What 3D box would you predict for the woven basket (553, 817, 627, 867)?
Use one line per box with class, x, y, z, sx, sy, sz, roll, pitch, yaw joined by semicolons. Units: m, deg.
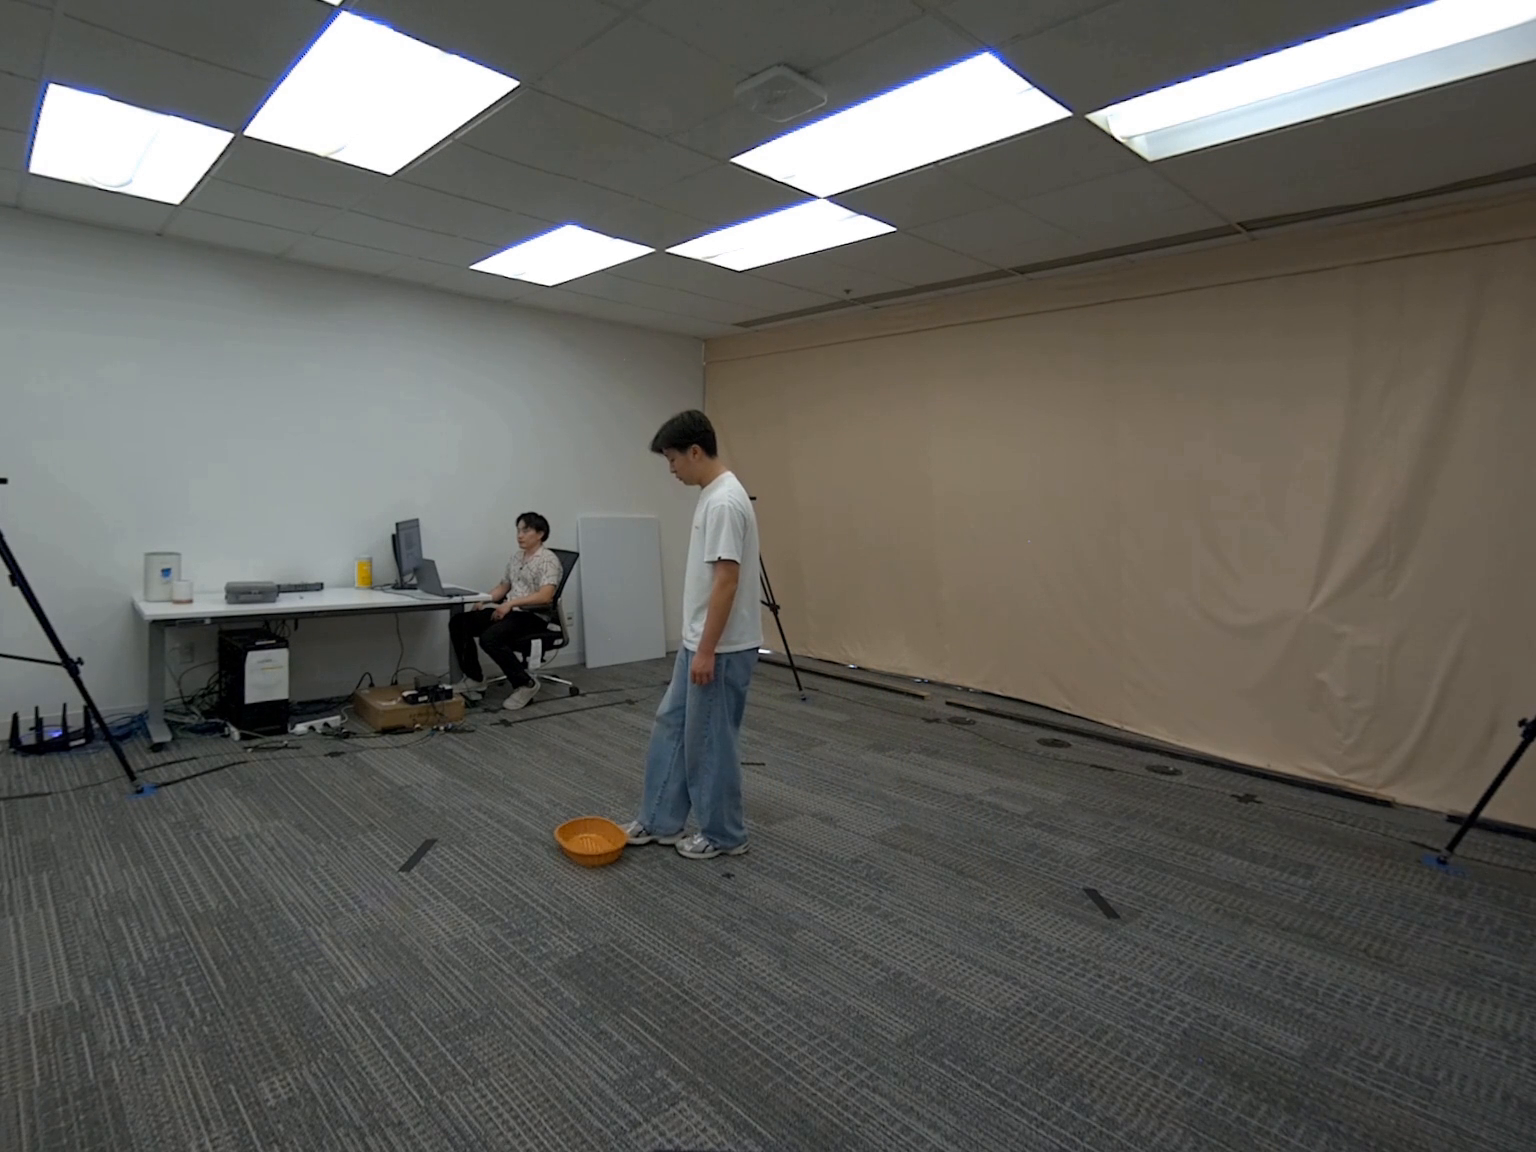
woven basket;-0.695;1.037;3.272;0.247;0.073;0.359;-6;9;-36
